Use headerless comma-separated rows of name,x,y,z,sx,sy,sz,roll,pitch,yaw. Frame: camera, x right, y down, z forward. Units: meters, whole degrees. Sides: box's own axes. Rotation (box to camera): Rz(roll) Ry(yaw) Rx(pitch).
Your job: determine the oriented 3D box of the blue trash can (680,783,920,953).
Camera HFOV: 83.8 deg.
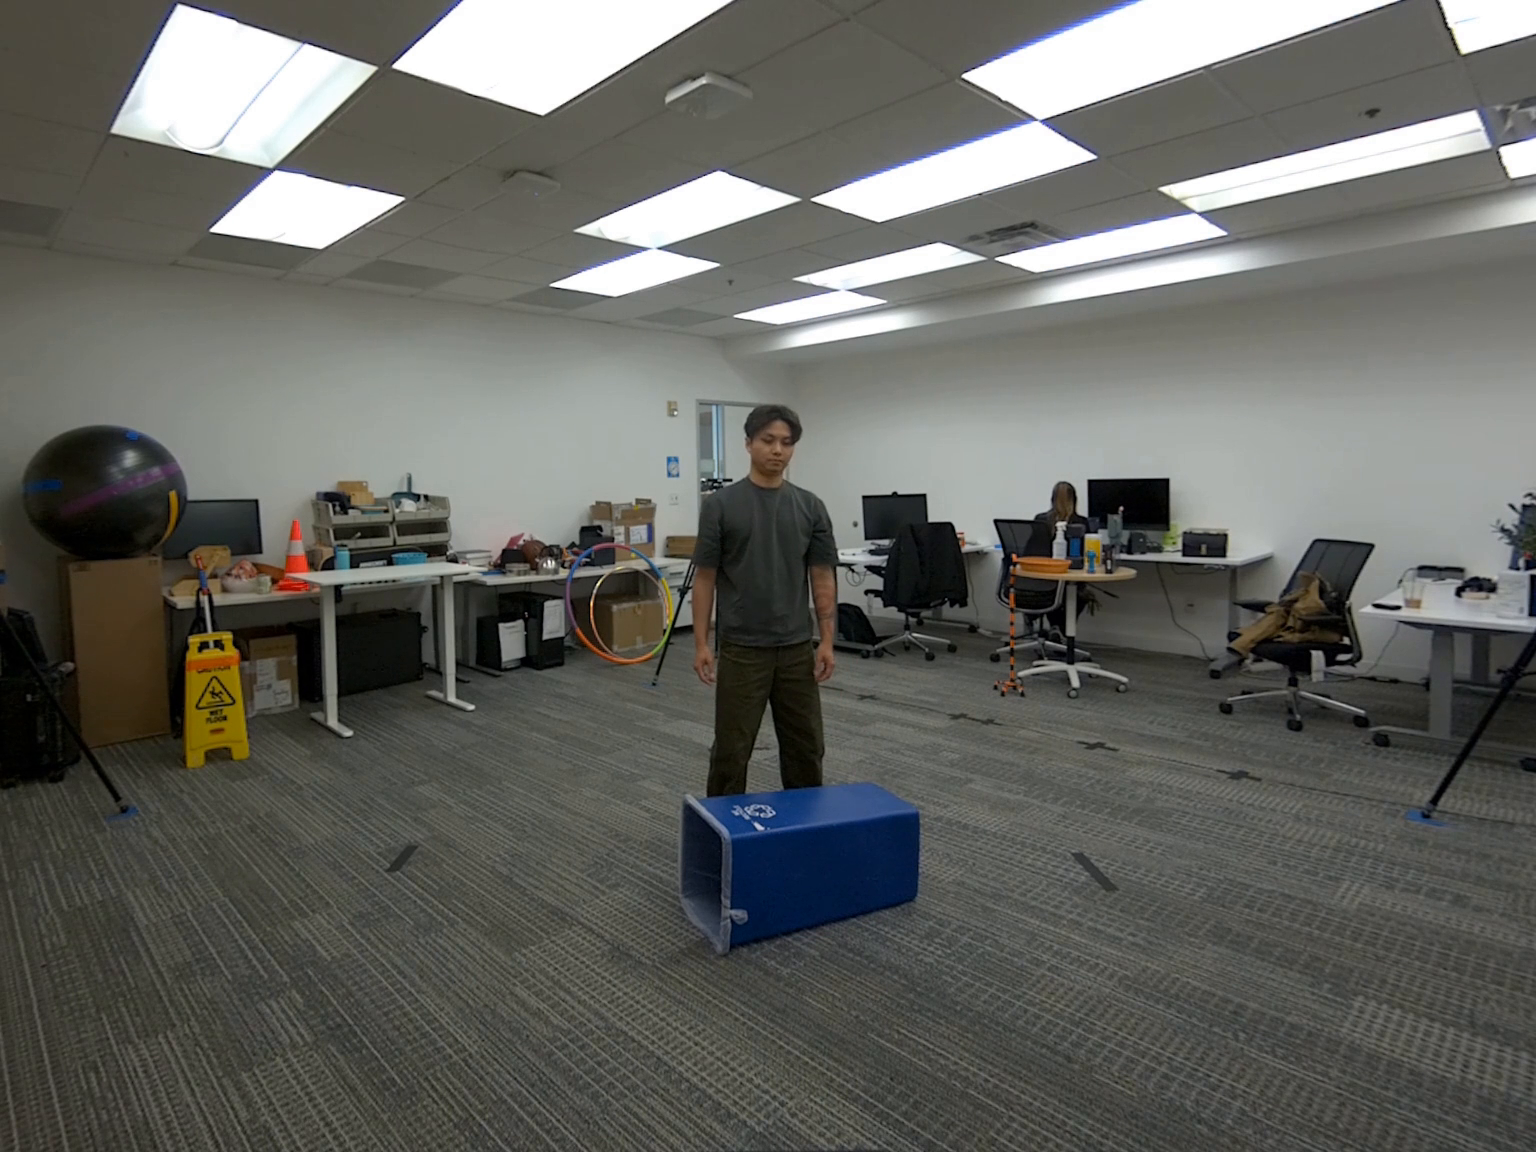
blue trash can,0.114,0.913,2.790,0.699,0.373,0.387,0,3,-24
